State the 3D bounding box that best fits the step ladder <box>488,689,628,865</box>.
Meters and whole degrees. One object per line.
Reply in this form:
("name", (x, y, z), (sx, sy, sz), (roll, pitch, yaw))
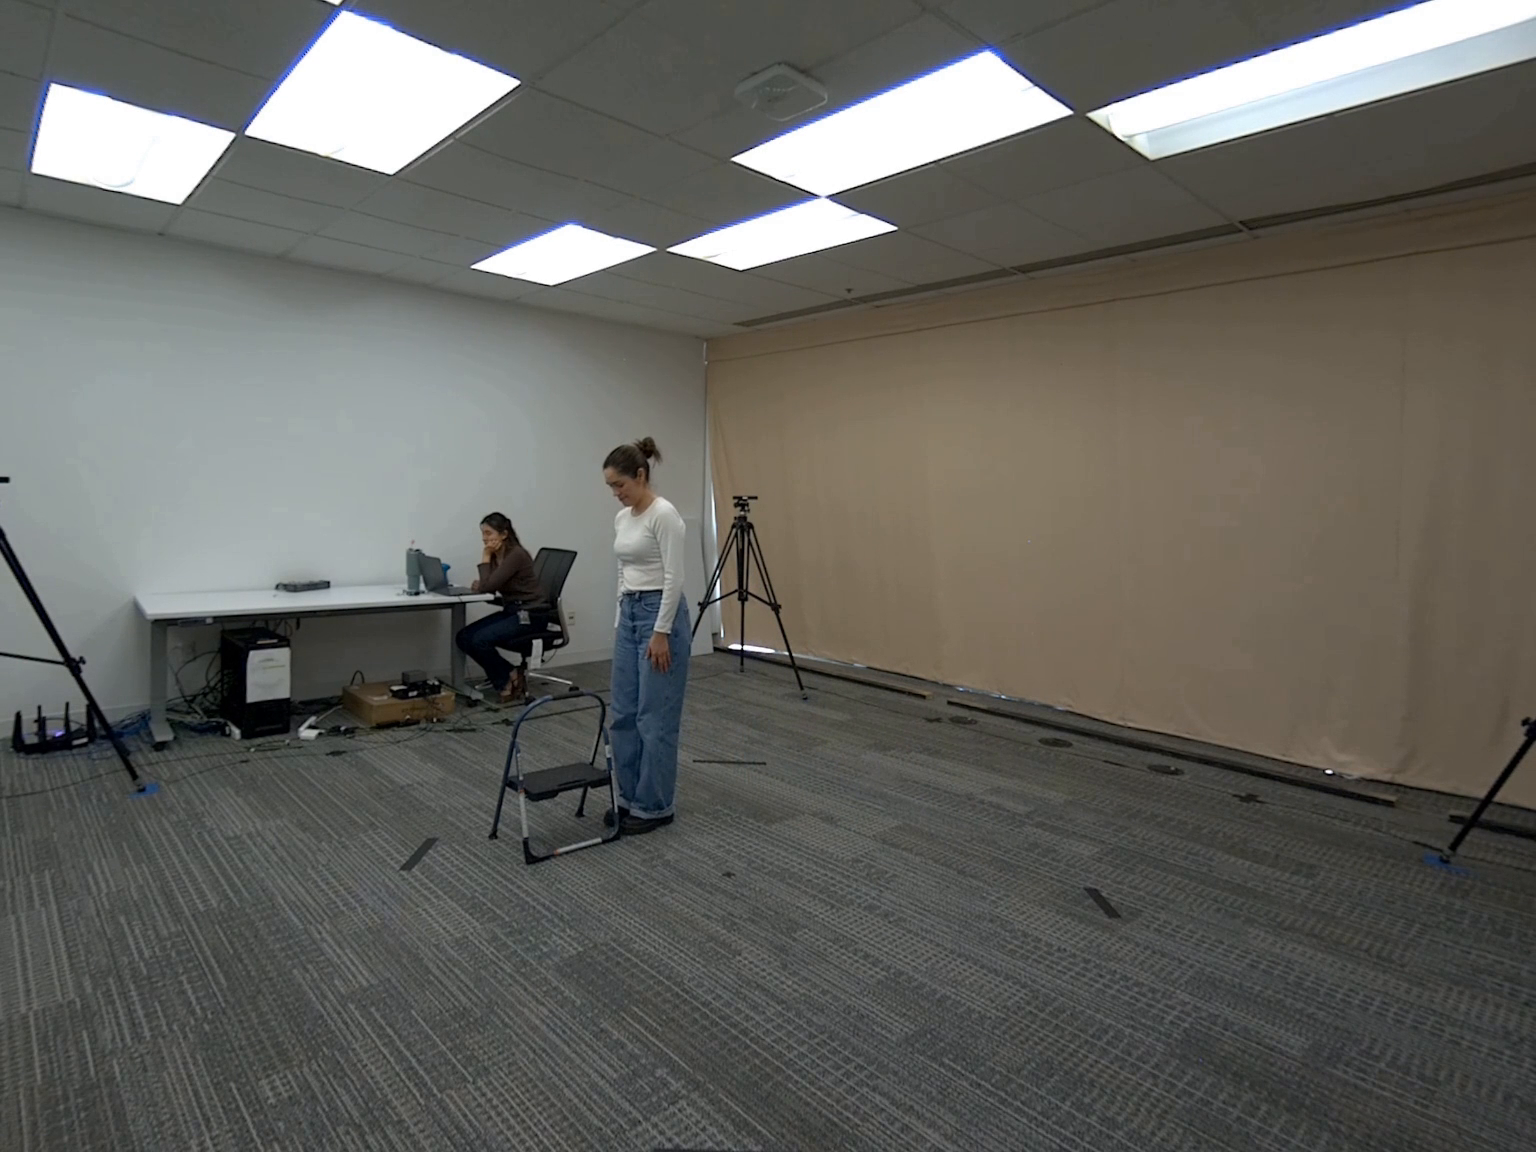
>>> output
("step ladder", (-0.866, 0.760, 3.383), (0.421, 0.605, 0.358), (-2, 4, -42))
